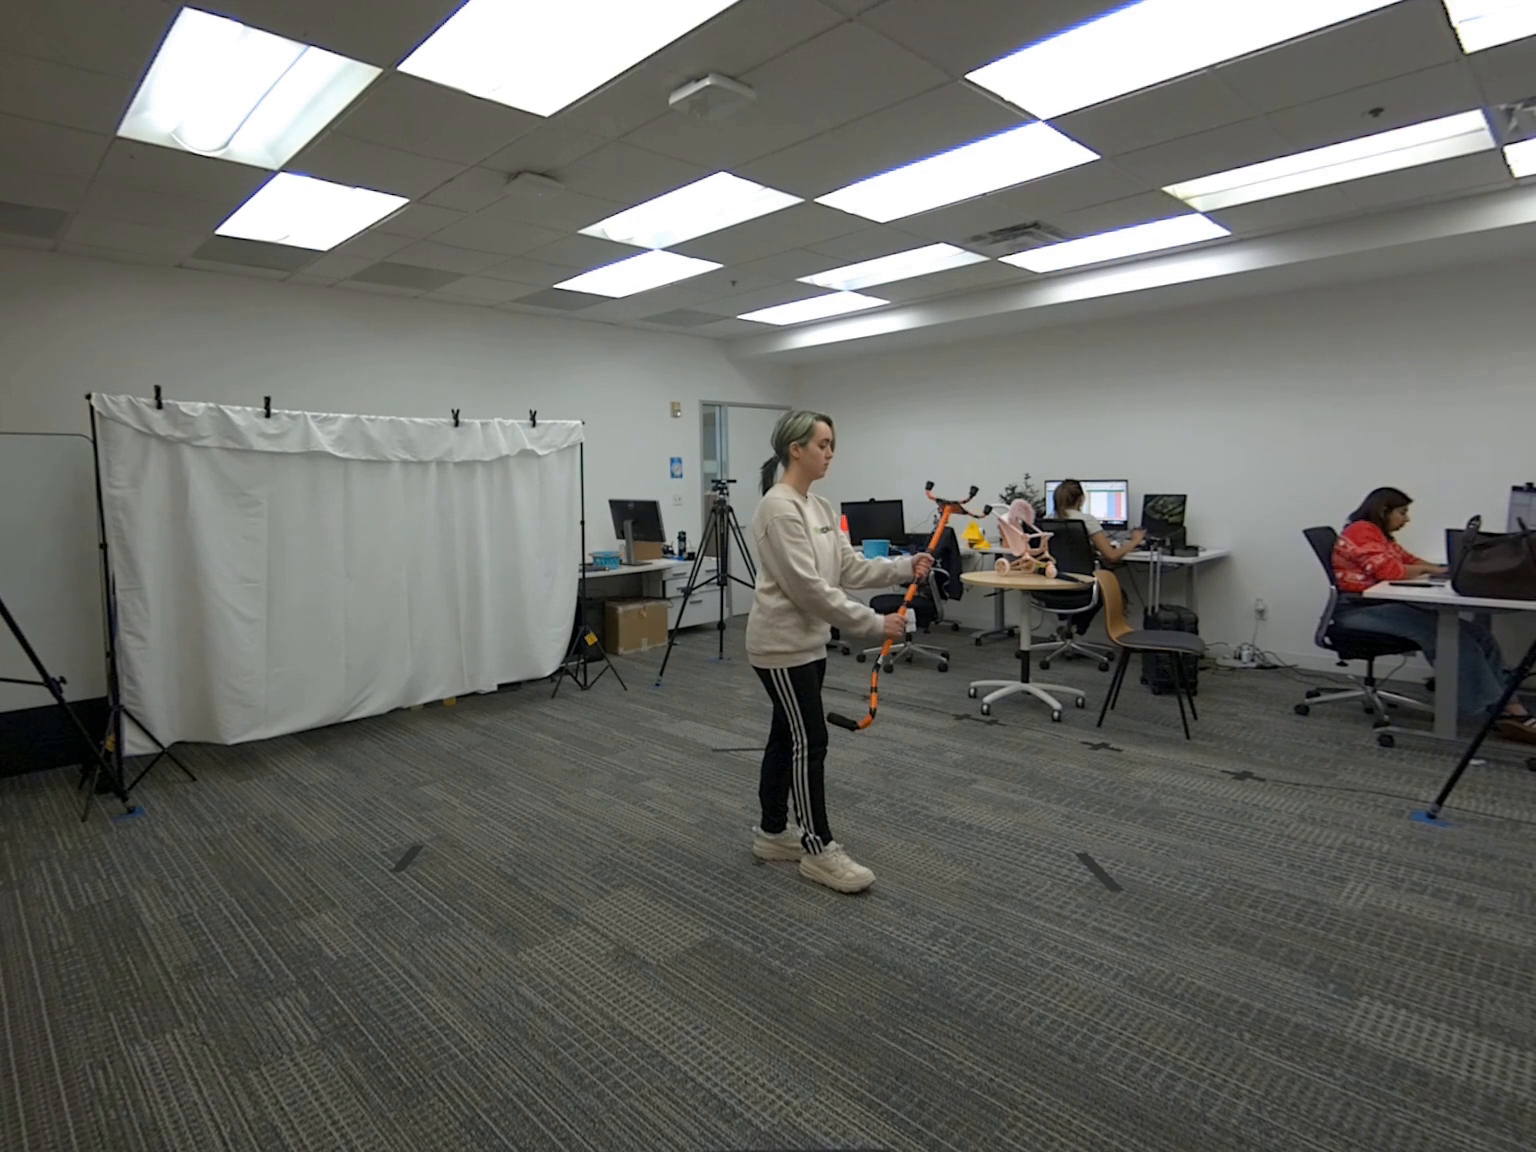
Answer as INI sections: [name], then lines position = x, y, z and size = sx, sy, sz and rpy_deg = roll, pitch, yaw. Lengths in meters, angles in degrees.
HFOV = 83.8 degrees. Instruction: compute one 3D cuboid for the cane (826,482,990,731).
[cane]
position = 0.472, 0.108, 2.873
size = 0.213, 0.913, 0.146
rpy_deg = 12, -22, 44
